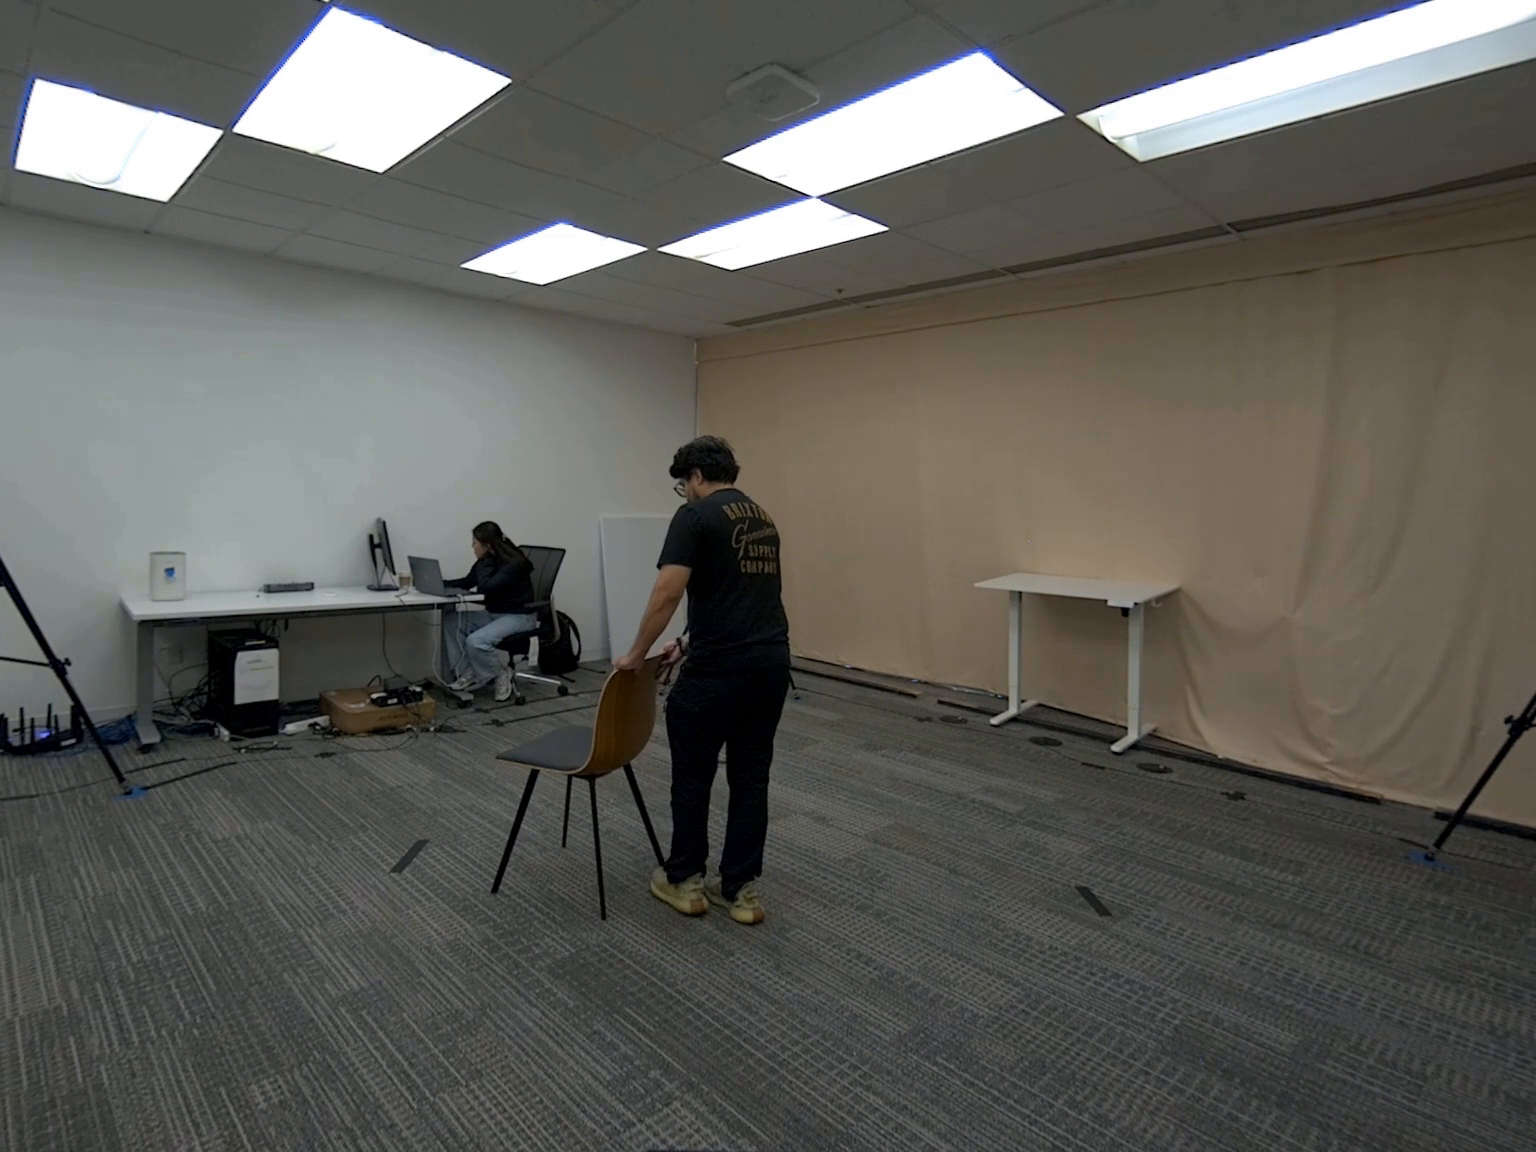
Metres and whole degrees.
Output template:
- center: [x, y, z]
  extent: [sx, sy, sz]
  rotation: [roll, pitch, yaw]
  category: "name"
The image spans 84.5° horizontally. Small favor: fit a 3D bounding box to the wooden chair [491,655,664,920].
- center: [-0.672, 0.668, 3.010]
  extent: [0.532, 0.874, 0.471]
  rotation: [8, 6, 21]
  category: "wooden chair"
